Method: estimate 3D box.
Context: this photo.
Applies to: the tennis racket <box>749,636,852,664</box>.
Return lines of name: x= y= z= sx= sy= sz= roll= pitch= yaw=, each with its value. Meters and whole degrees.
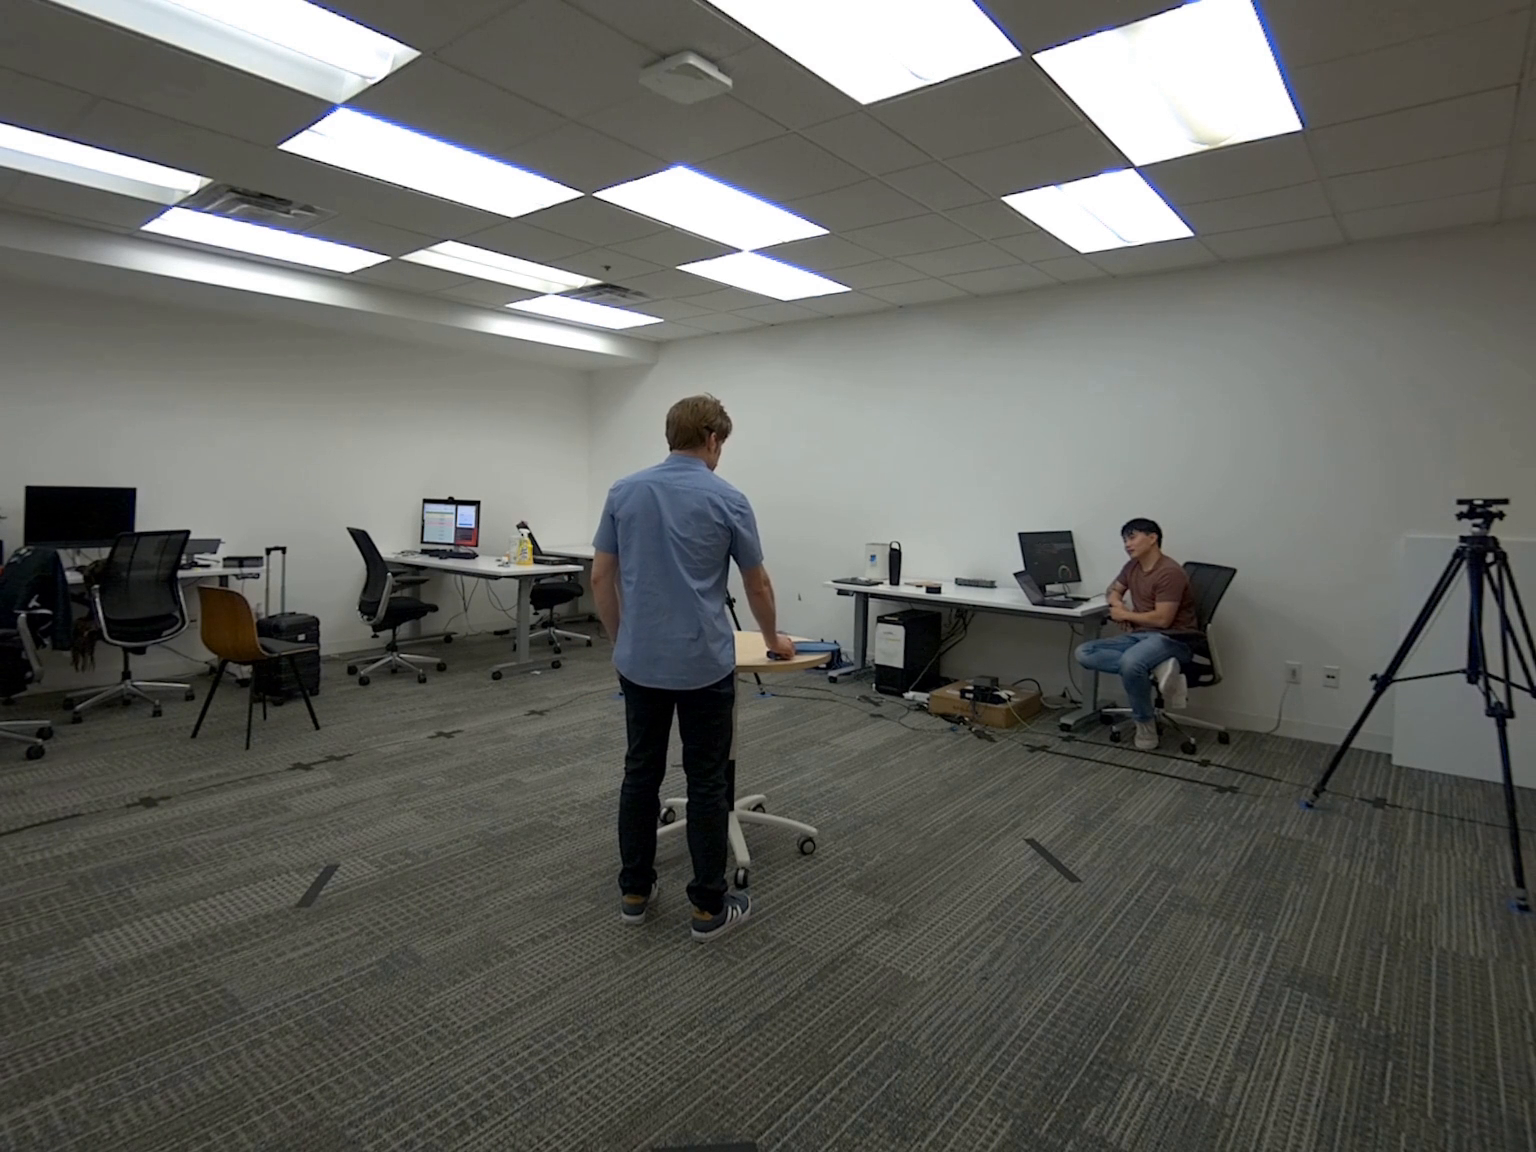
tennis racket: x=0.128 y=0.275 z=3.201 sx=0.220 sy=0.032 sz=0.421 roll=2 pitch=4 yaw=30
